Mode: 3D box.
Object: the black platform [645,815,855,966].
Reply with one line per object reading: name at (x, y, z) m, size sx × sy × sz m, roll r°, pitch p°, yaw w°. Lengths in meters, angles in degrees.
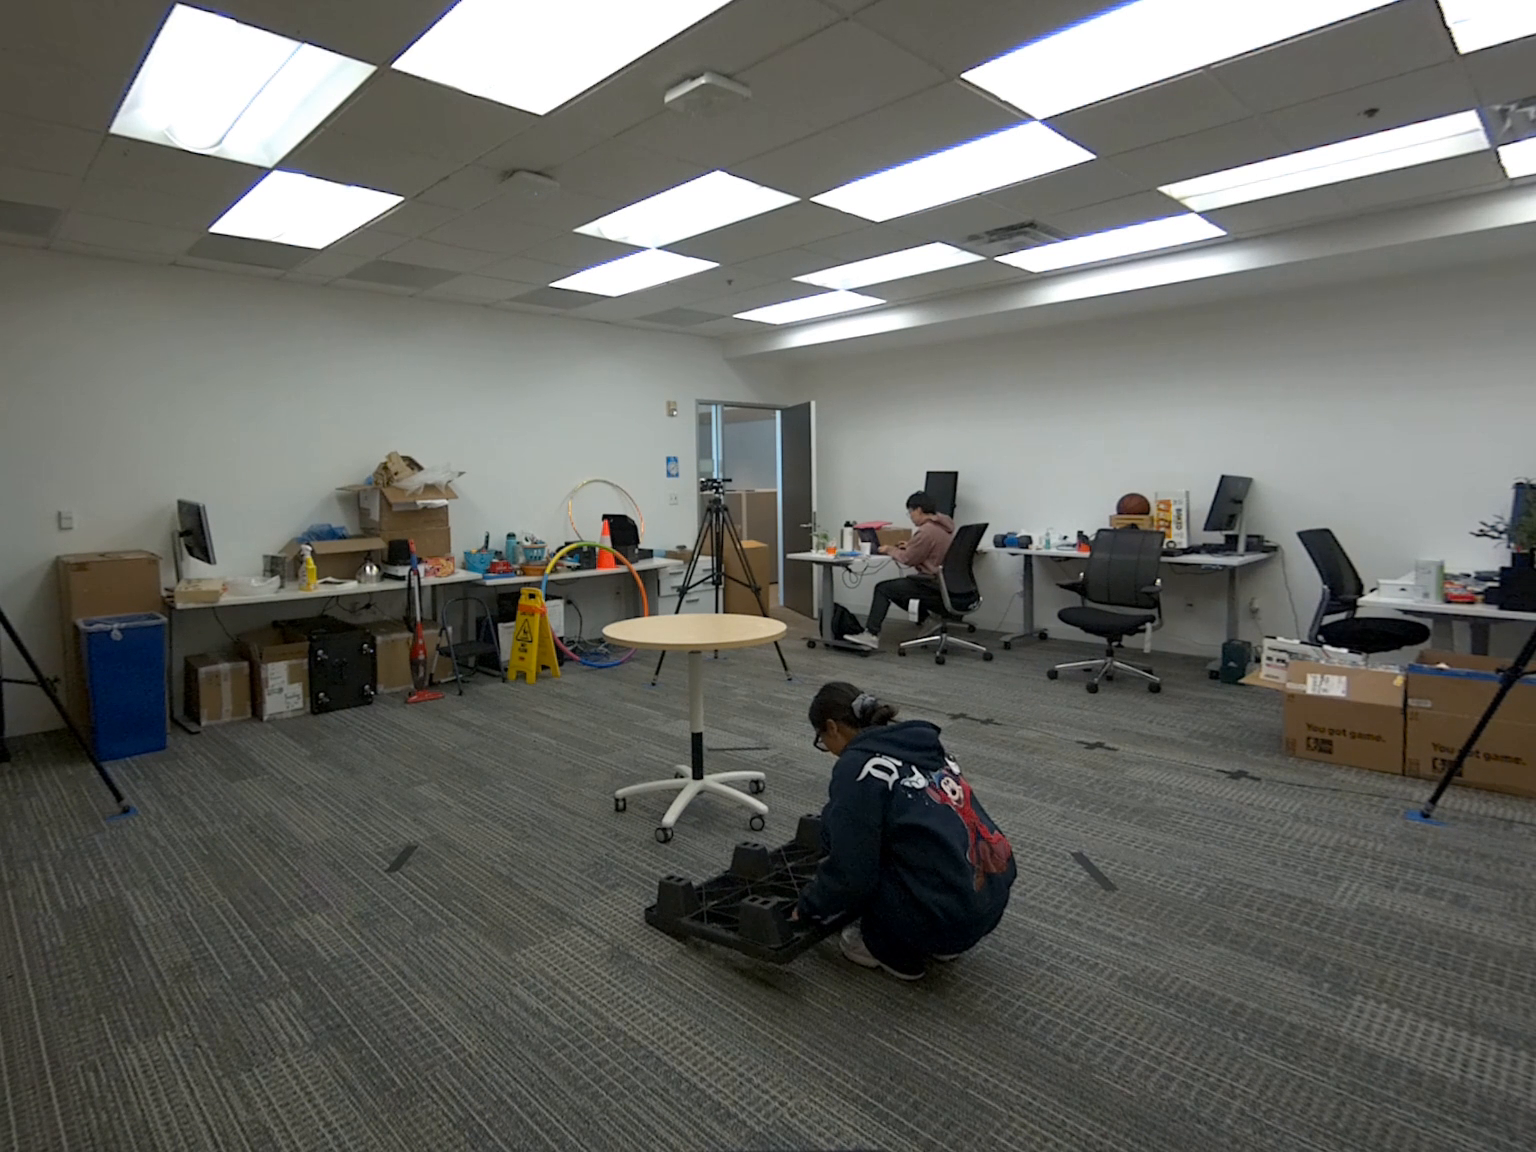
black platform at (0.083, 0.972, 2.778) m, size 0.620 × 0.143 × 0.785 m, roll -6°, pitch 1°, yaw 44°
